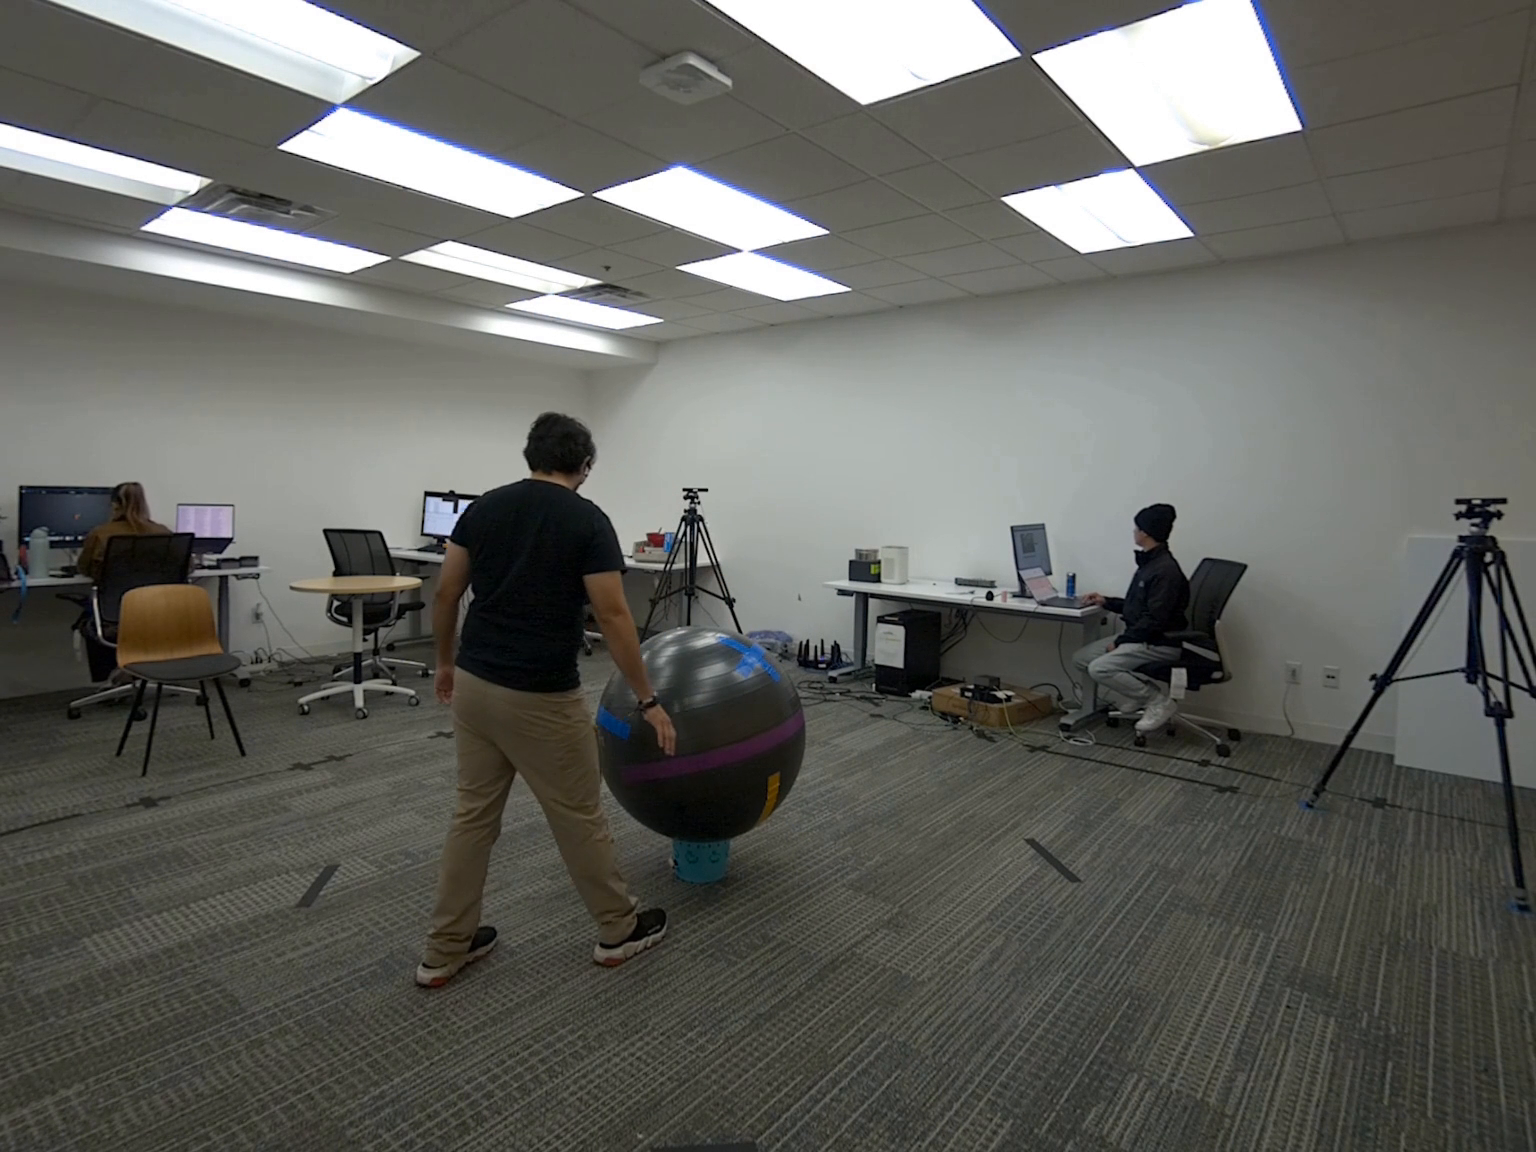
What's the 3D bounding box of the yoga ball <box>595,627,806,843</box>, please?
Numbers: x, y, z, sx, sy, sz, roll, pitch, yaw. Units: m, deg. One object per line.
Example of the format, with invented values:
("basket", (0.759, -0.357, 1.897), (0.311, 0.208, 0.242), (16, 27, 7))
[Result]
("yoga ball", (-0.257, 0.563, 3.072), (0.757, 0.756, 0.762), (1, 4, -2))
